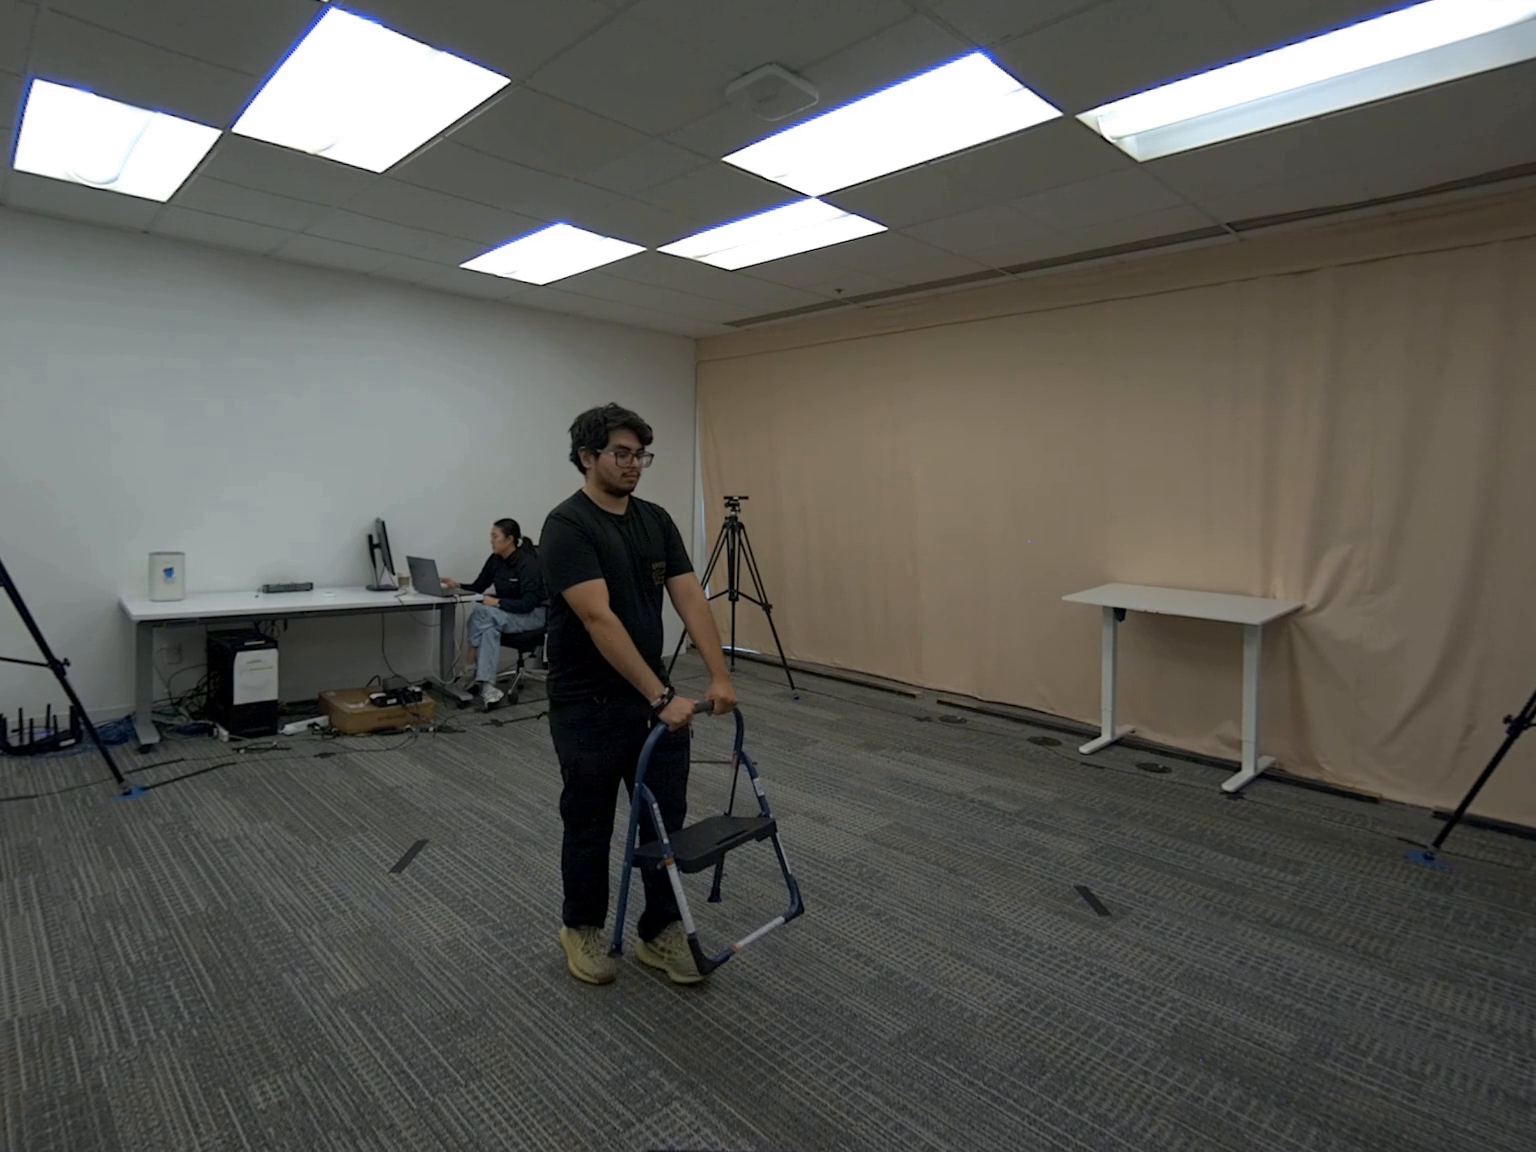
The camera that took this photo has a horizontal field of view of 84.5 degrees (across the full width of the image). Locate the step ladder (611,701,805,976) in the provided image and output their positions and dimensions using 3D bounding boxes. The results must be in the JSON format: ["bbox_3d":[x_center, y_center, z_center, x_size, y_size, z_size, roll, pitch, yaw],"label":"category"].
[{"bbox_3d":[-0.202,0.658,2.251,0.355,0.608,0.421,-12,-5,37],"label":"step ladder"}]
